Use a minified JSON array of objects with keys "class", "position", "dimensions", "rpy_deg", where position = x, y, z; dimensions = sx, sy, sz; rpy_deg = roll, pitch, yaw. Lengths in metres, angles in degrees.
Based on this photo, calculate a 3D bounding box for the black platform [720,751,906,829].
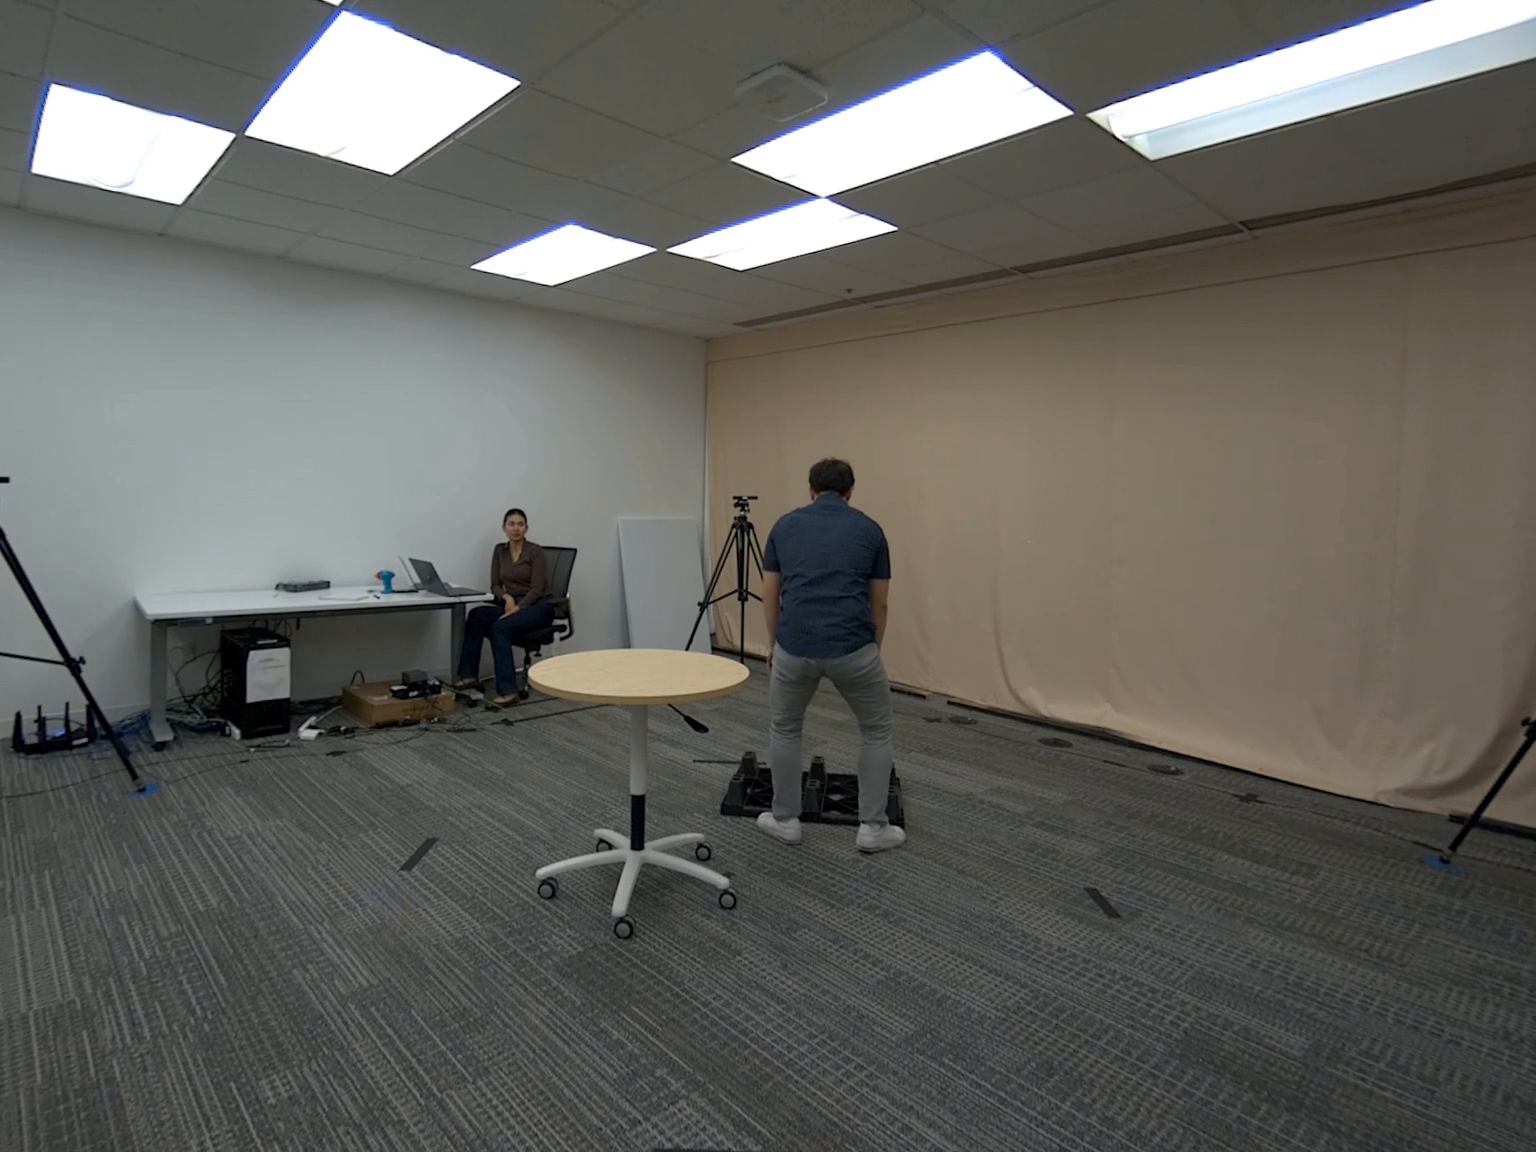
[{"class":"black platform","position":[0.213,0.973,3.931],"dimensions":[0.811,0.143,0.603],"rpy_deg":[2,5,8]}]
